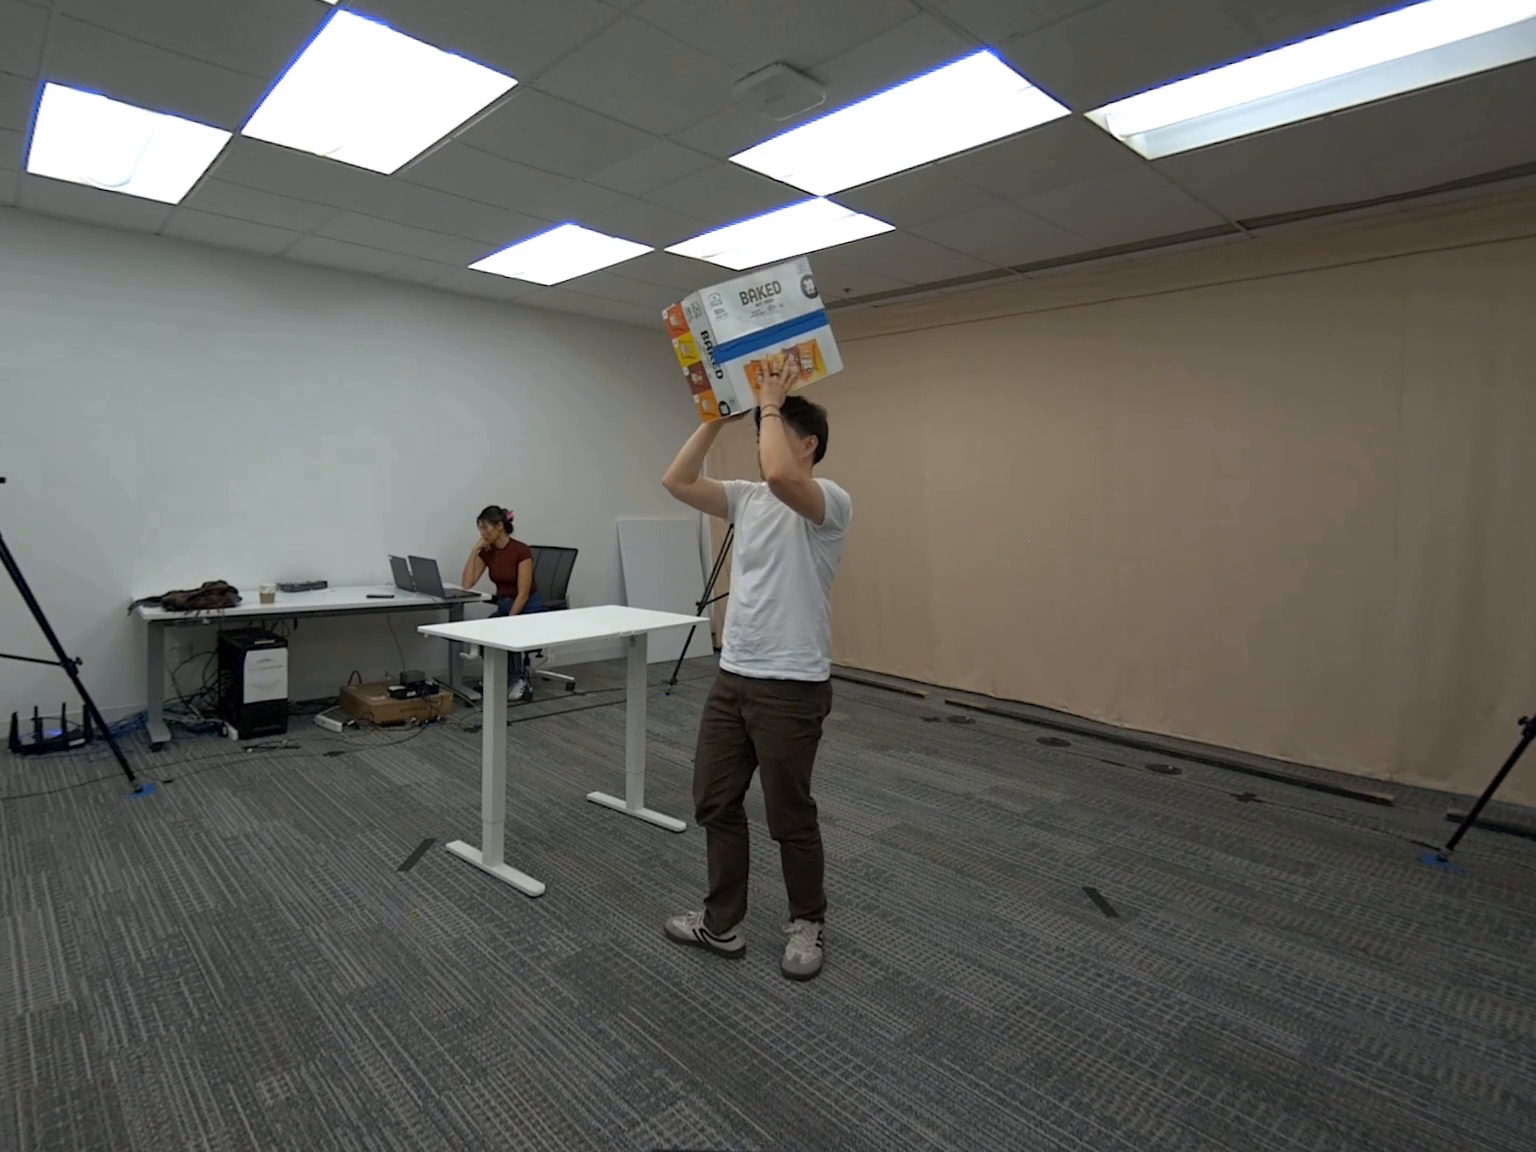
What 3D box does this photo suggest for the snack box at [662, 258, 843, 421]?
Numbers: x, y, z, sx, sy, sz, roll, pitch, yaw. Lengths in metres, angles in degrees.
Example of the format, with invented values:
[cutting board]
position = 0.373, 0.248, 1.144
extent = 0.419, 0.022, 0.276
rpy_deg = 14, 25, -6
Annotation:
[snack box]
position = -0.043, -0.681, 2.432
extent = 0.401, 0.336, 0.210
rpy_deg = -28, 14, -31
